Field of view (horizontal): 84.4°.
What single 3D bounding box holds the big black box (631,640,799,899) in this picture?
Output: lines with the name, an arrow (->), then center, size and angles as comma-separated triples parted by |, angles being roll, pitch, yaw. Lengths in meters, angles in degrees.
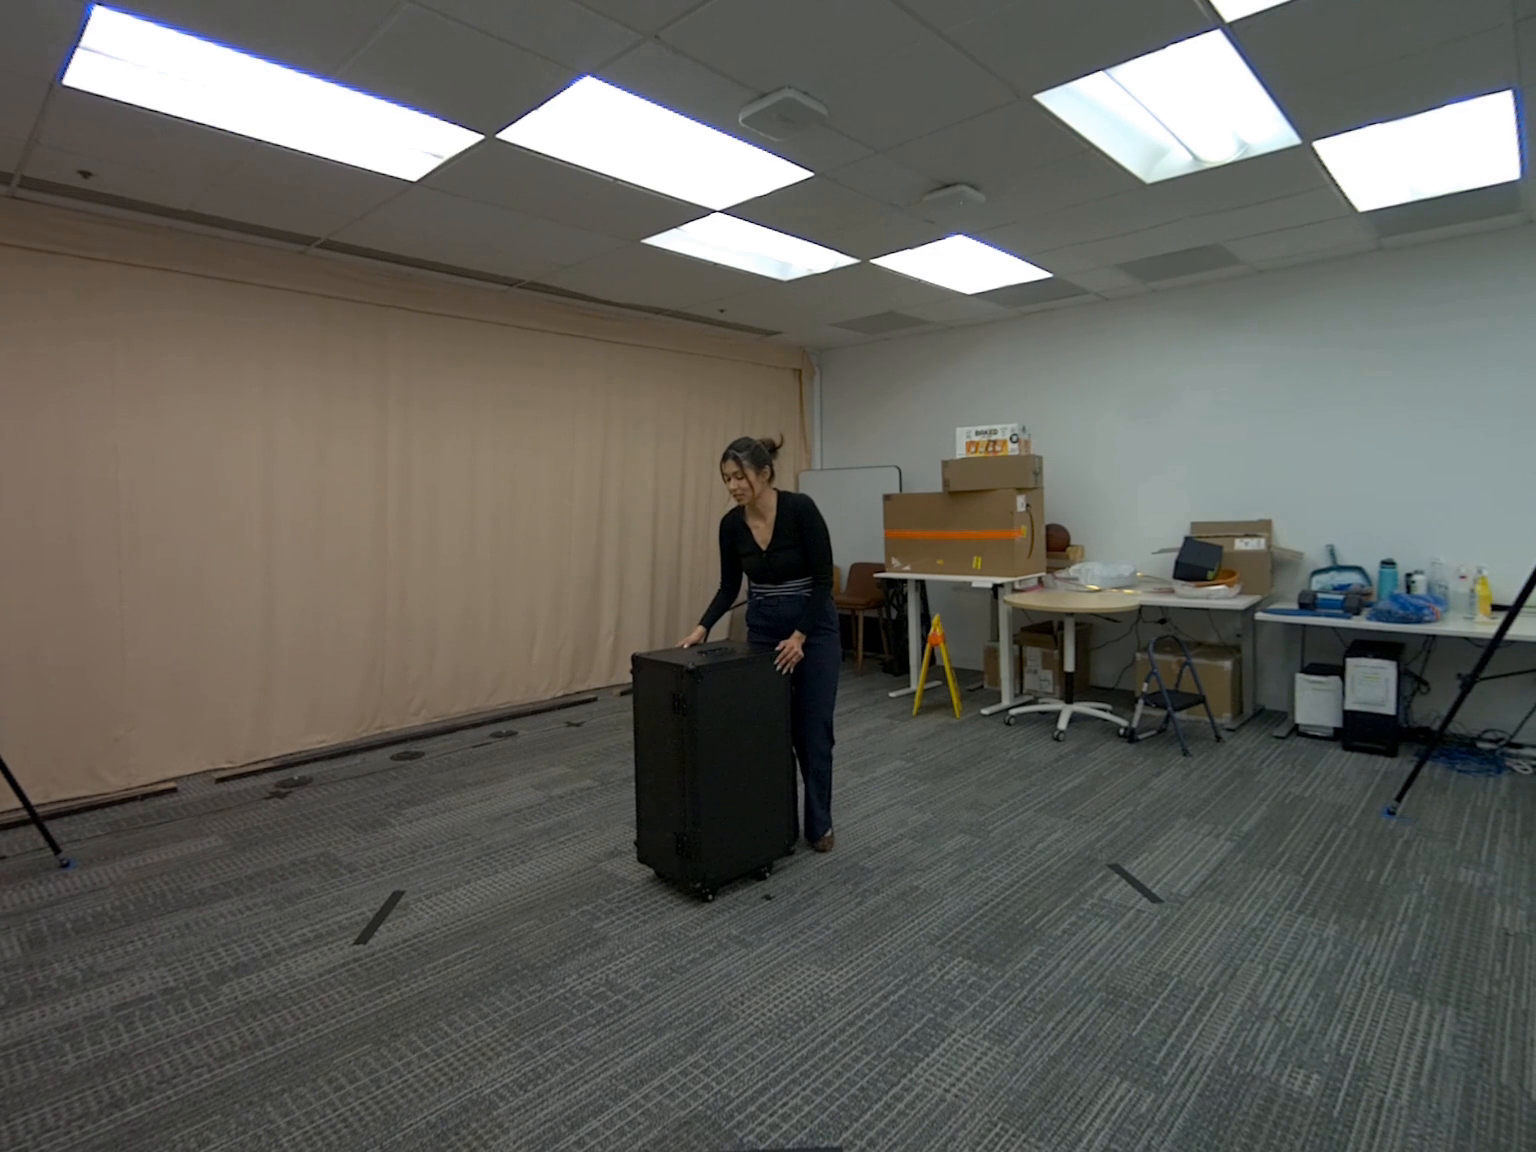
big black box -> -0.214, 0.652, 3.123 | 0.505, 0.860, 0.409 | -5, 4, -43
